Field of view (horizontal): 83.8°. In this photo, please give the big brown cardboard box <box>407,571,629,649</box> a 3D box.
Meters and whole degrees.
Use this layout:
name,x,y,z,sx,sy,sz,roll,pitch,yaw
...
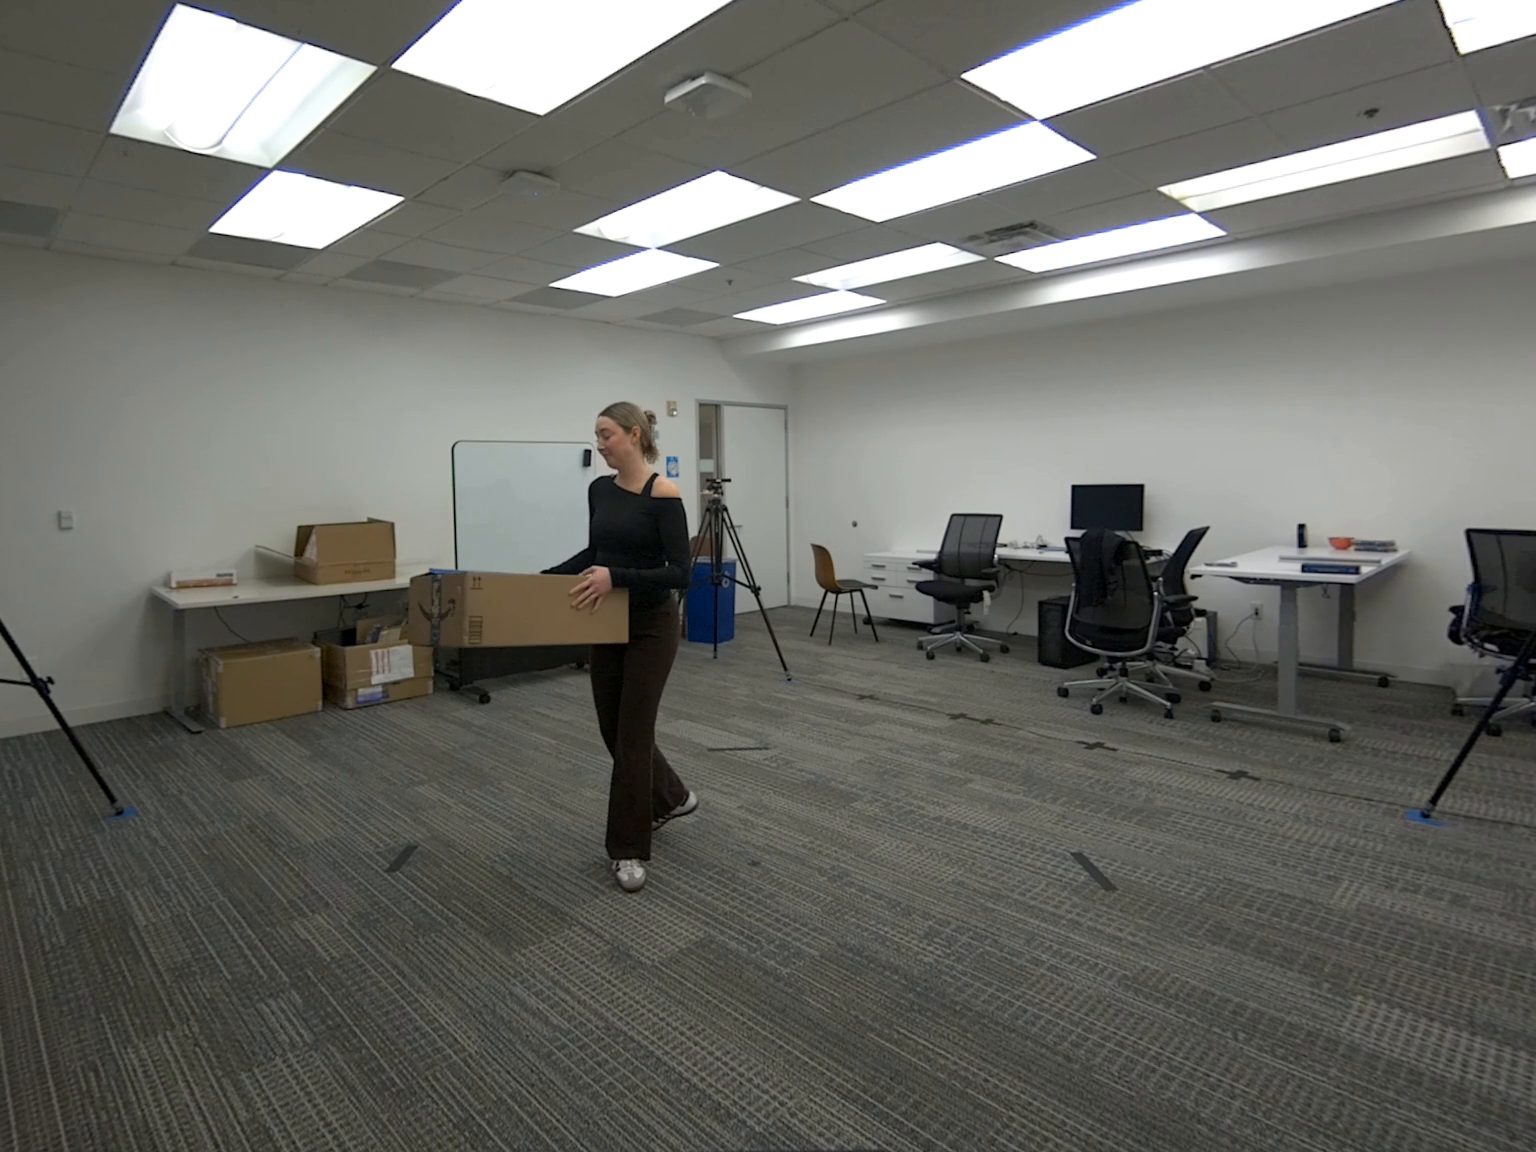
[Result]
name,x,y,z,sx,sy,sz,roll,pitch,yaw
big brown cardboard box,-0.784,0.108,2.733,0.571,0.234,0.428,4,-6,-43
